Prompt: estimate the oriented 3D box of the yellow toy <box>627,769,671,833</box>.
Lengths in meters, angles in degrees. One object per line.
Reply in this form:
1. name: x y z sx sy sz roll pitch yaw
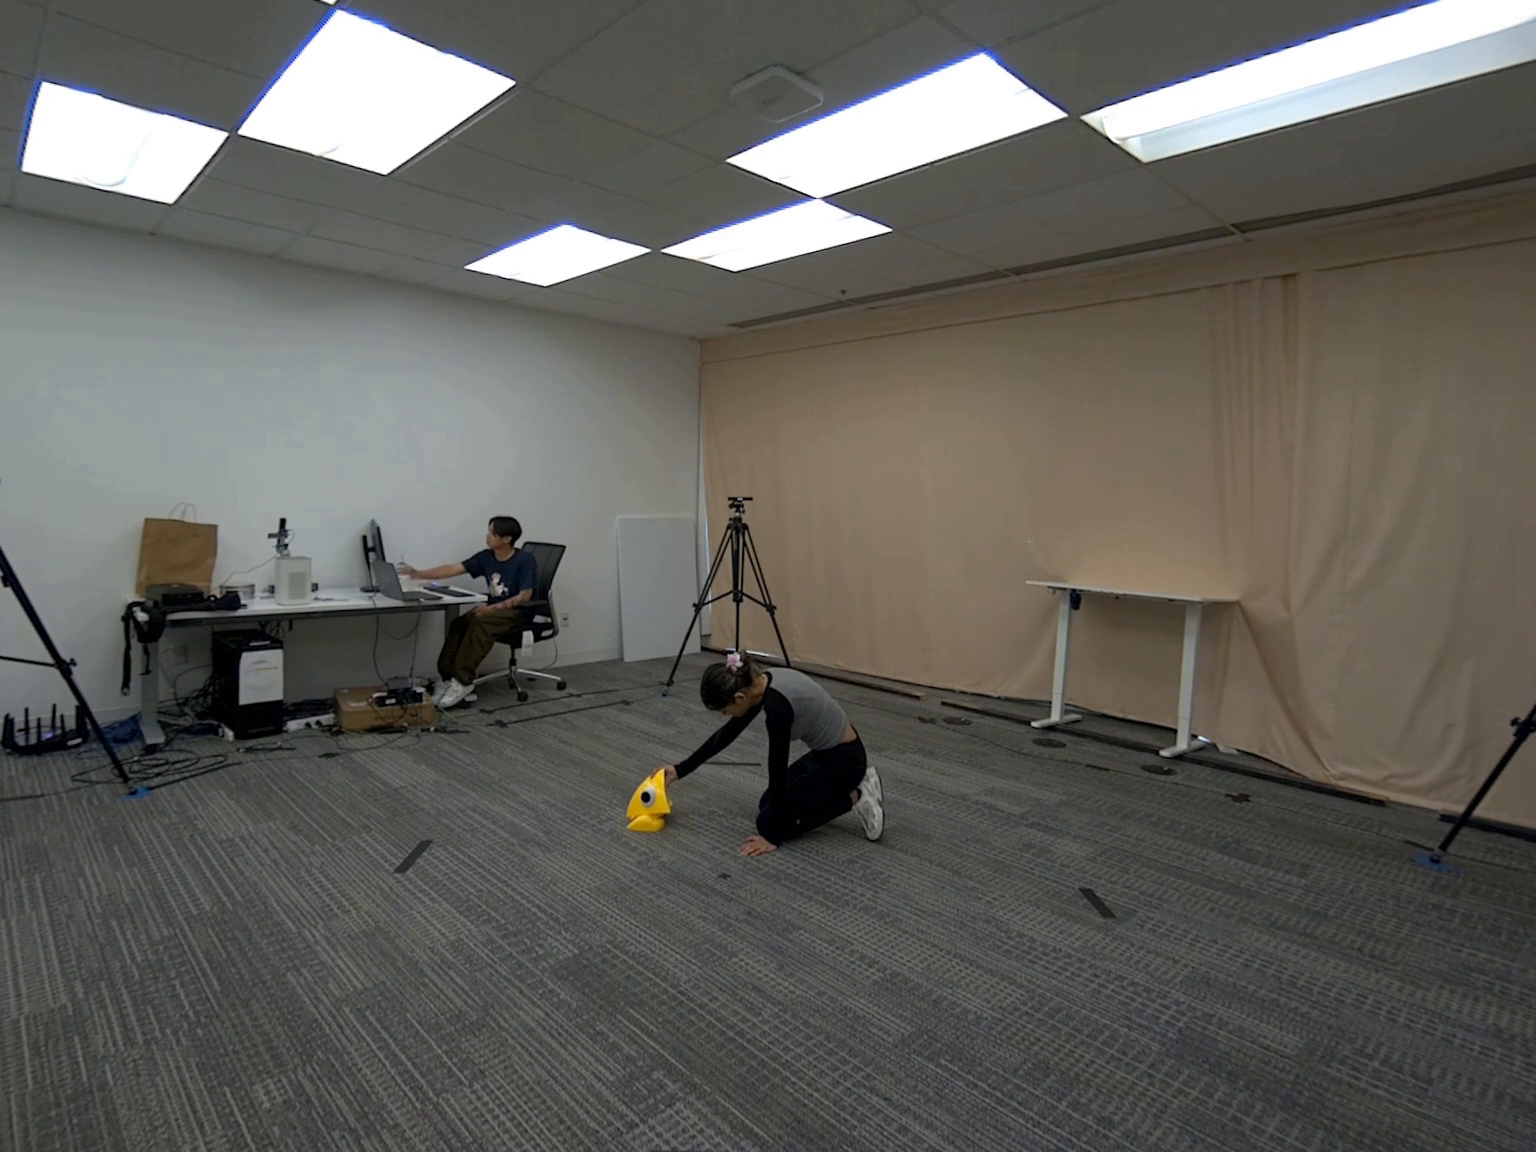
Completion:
1. yellow toy: -0.510 0.935 3.600 0.192 0.230 0.206 2 4 -6
